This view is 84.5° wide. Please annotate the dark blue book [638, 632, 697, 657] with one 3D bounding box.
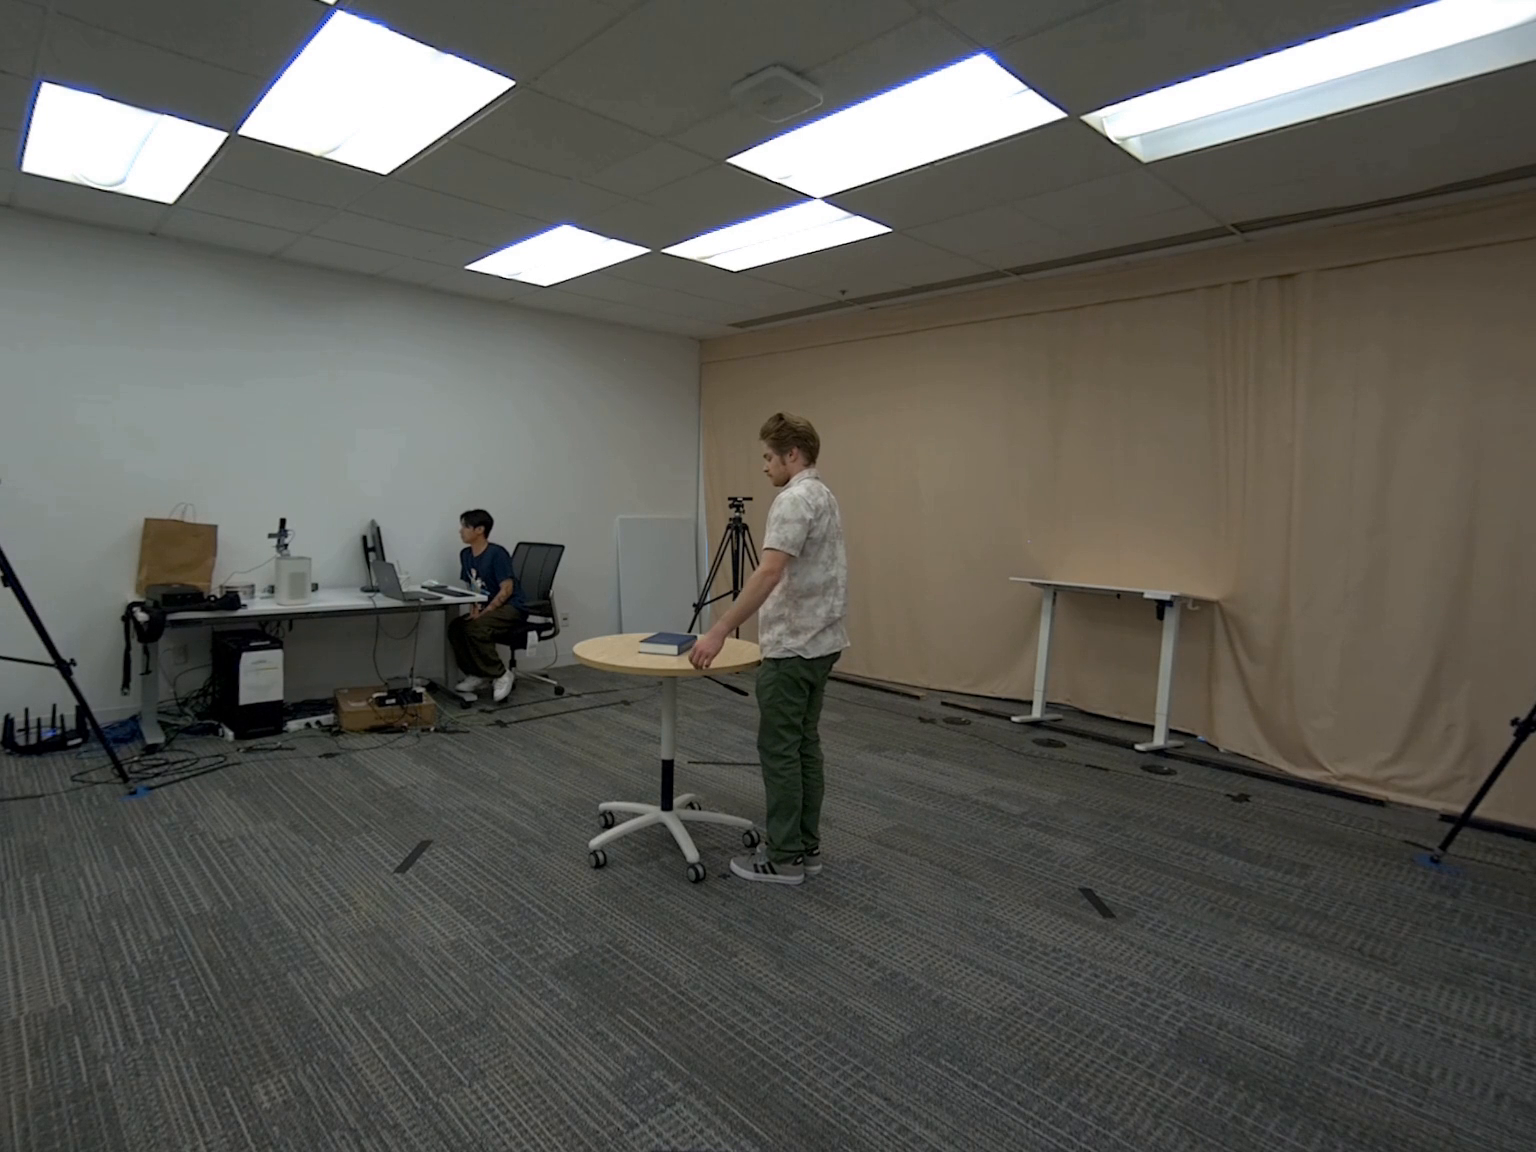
[{"bbox_3d":[-0.399,0.265,3.342,0.165,0.045,0.243,2,6,14],"label":"dark blue book"}]
